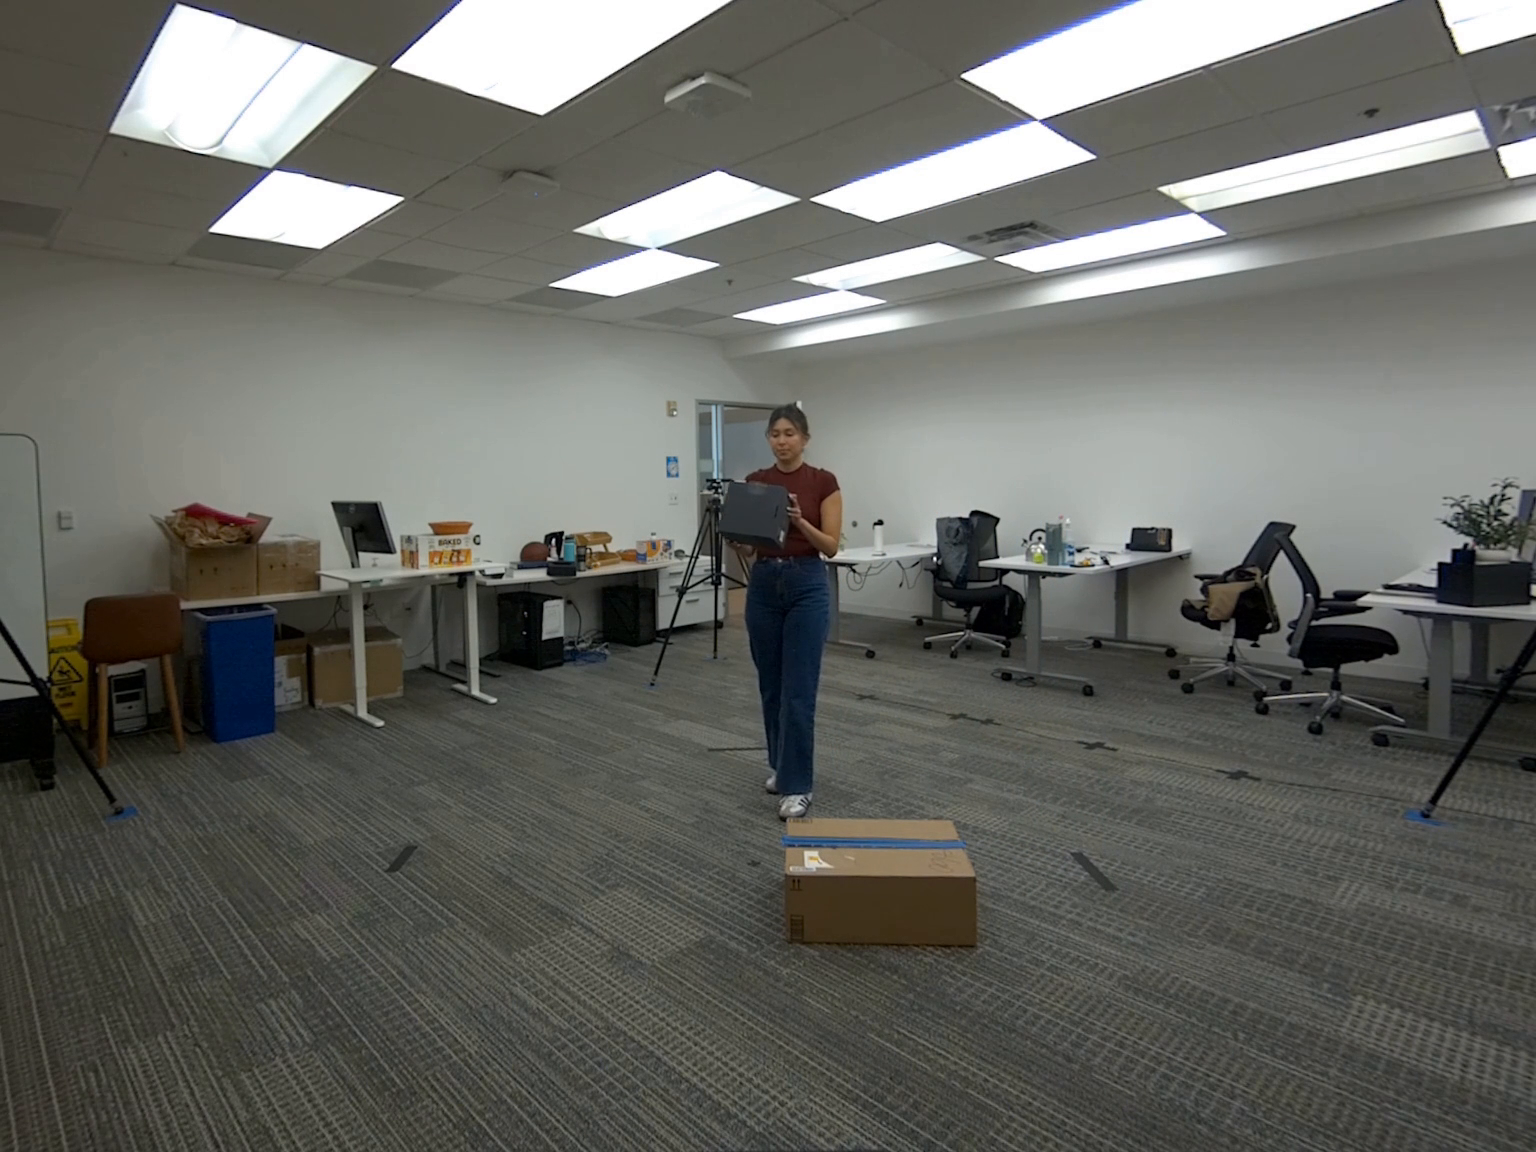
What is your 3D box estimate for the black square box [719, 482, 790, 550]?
[{"bbox_3d":[-0.051,-0.243,3.351,0.233,0.218,0.151,9,-10,22],"label":"black square box"}]
